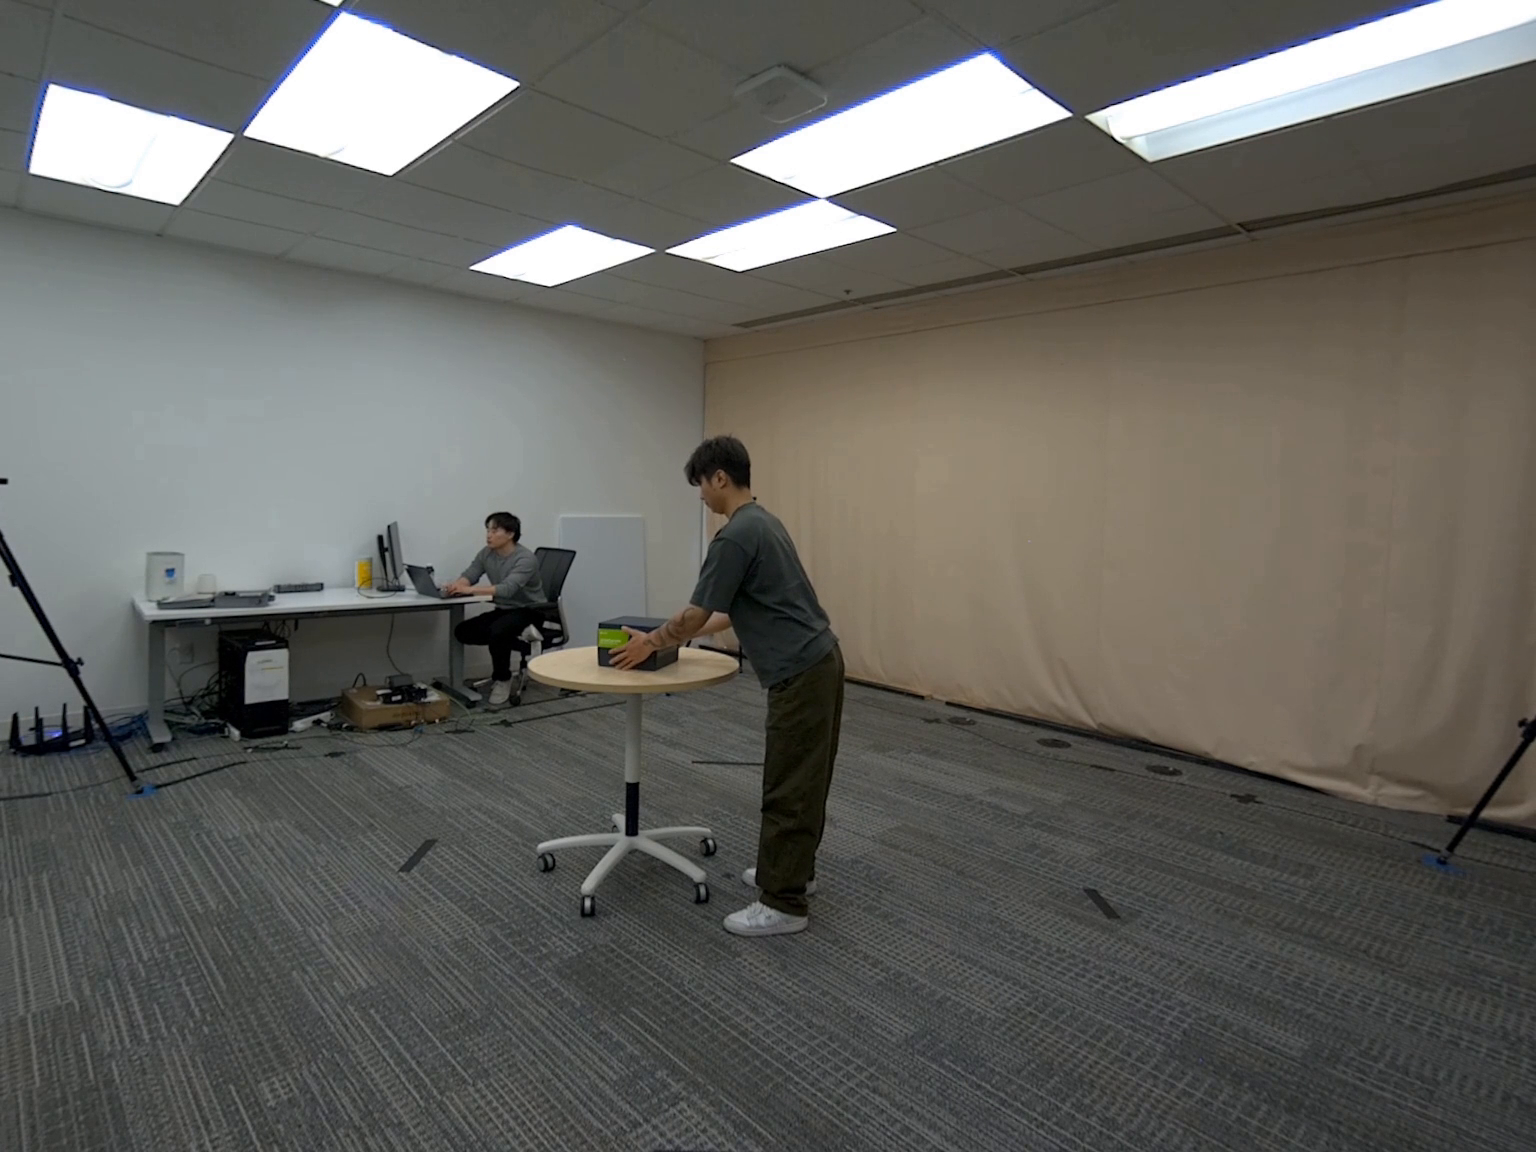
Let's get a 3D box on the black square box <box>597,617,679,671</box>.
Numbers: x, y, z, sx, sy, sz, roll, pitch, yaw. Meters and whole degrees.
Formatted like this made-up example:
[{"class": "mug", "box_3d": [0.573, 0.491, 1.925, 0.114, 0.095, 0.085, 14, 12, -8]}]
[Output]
[{"class": "black square box", "box_3d": [-0.472, 0.238, 3.064, 0.231, 0.155, 0.214, 3, 4, 17]}]
